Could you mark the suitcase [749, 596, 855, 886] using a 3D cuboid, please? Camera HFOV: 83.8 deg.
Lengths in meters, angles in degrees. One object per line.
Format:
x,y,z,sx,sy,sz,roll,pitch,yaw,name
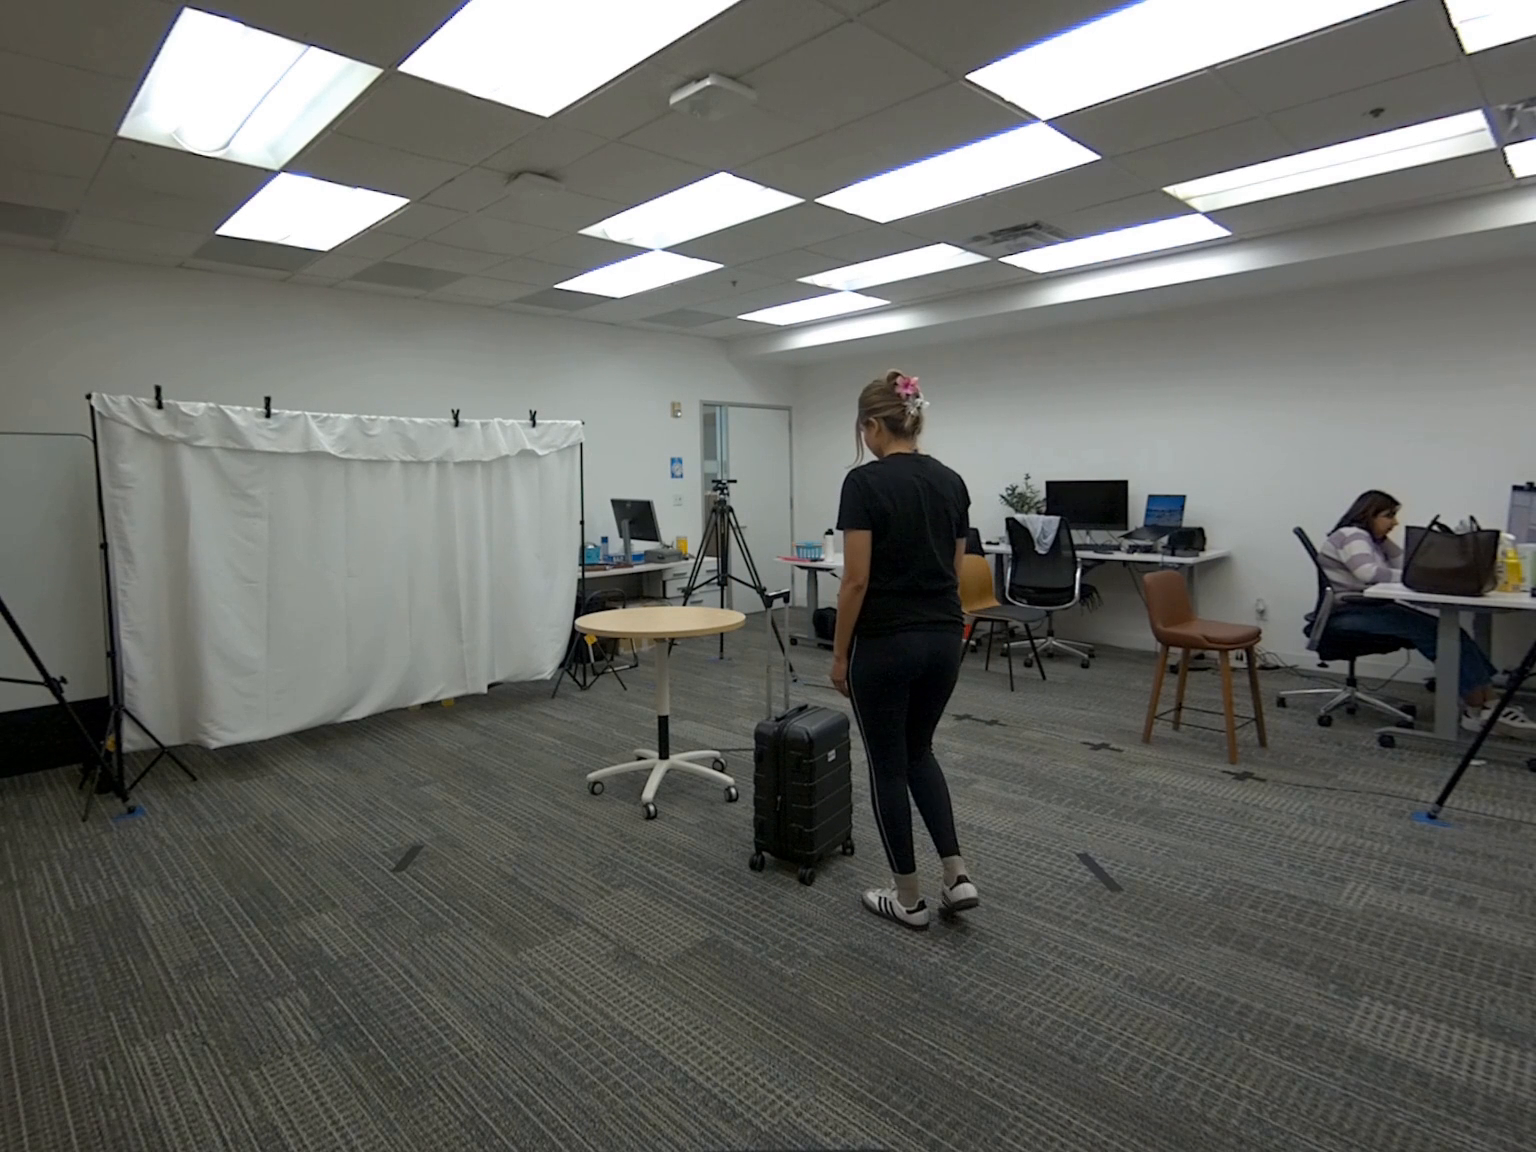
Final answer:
0.139,0.565,3.118,0.264,0.976,0.374,3,4,33,suitcase
